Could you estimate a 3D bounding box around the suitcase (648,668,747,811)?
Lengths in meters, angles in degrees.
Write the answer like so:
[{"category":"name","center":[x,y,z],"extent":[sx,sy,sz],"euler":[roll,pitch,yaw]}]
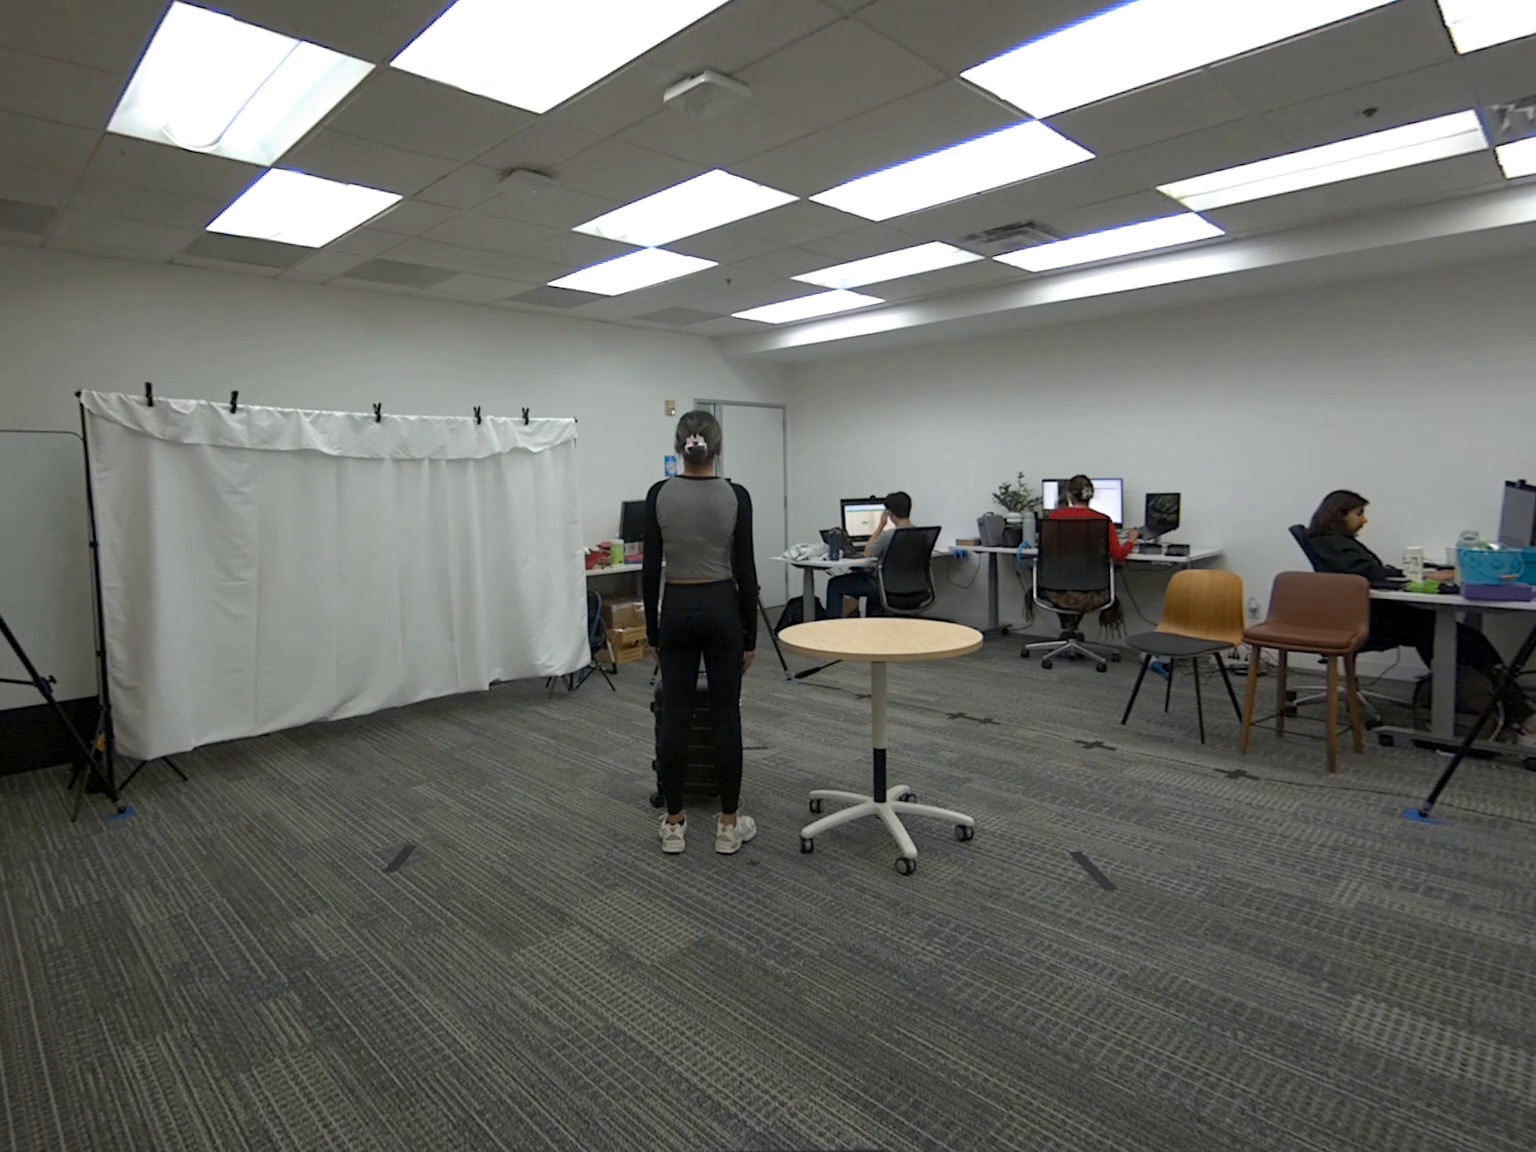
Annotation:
[{"category":"suitcase","center":[-0.304,0.700,3.735],"extent":[0.379,0.548,0.246],"euler":[0,3,9]}]
